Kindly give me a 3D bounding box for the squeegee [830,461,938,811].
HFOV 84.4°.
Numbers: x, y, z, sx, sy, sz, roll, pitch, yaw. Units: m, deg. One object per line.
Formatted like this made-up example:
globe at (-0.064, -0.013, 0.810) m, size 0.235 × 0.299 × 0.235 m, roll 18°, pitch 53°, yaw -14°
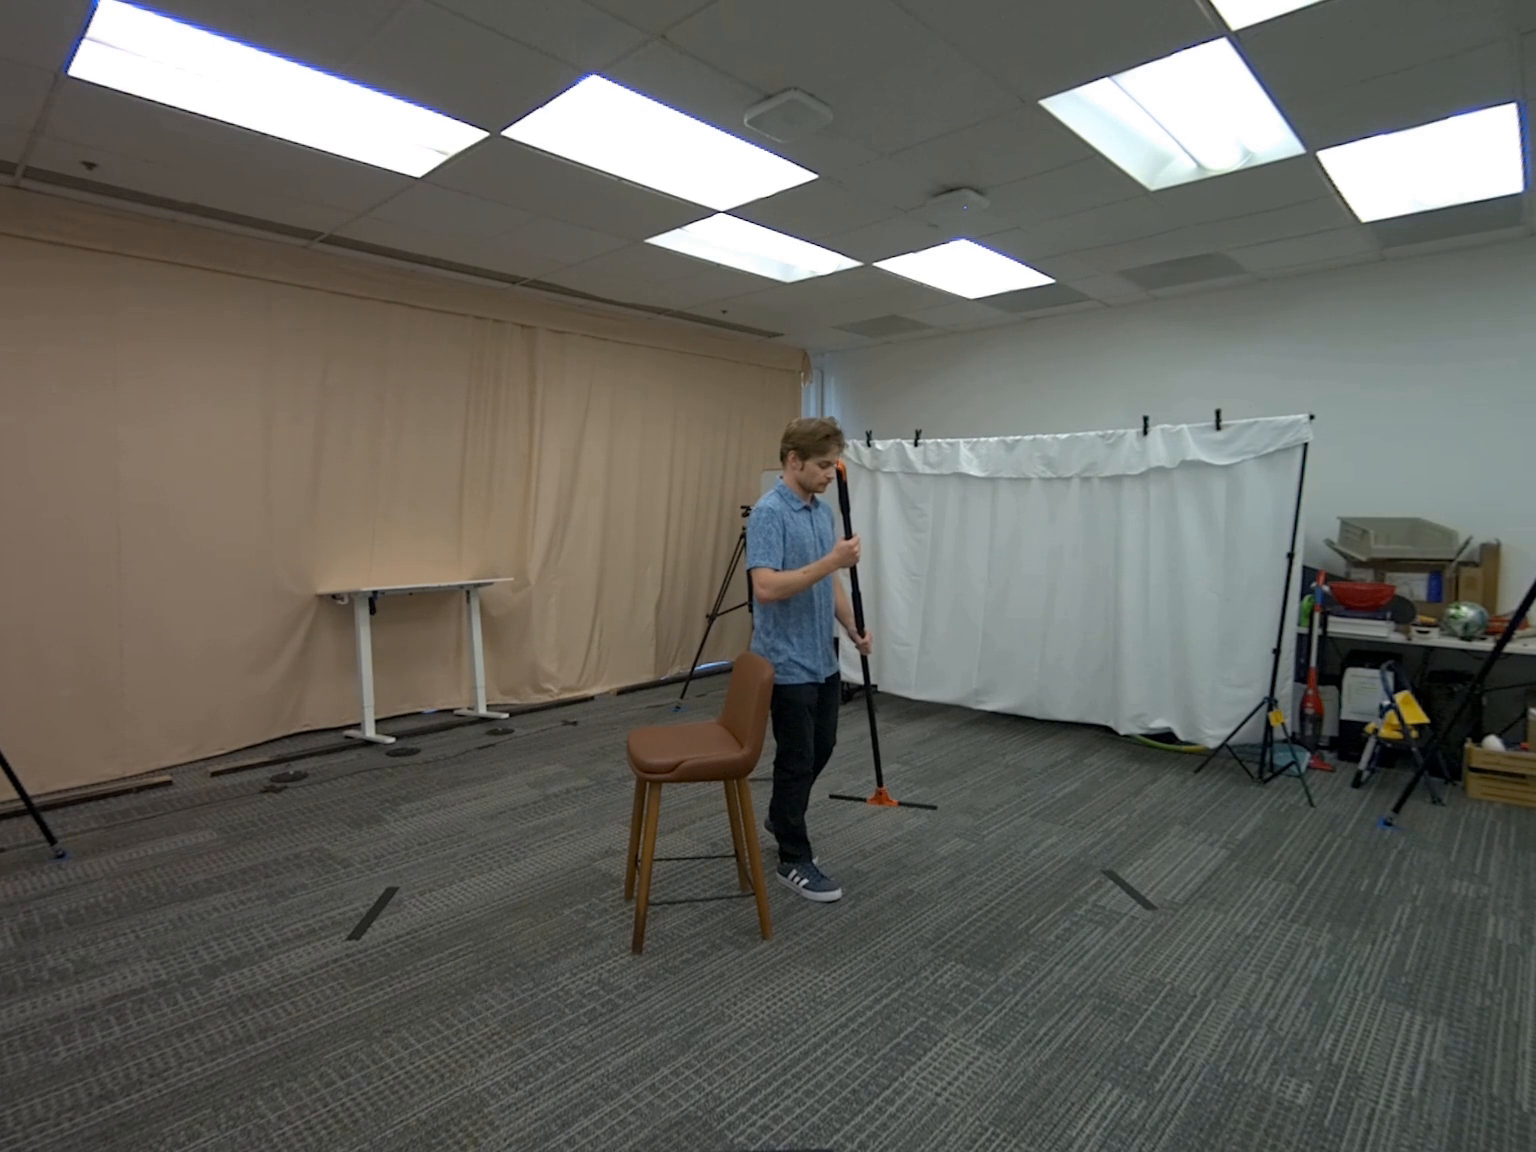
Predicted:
squeegee at (0.354, 0.286, 3.050) m, size 0.447 × 1.506 × 0.053 m, roll 1°, pitch 30°, yaw 22°
